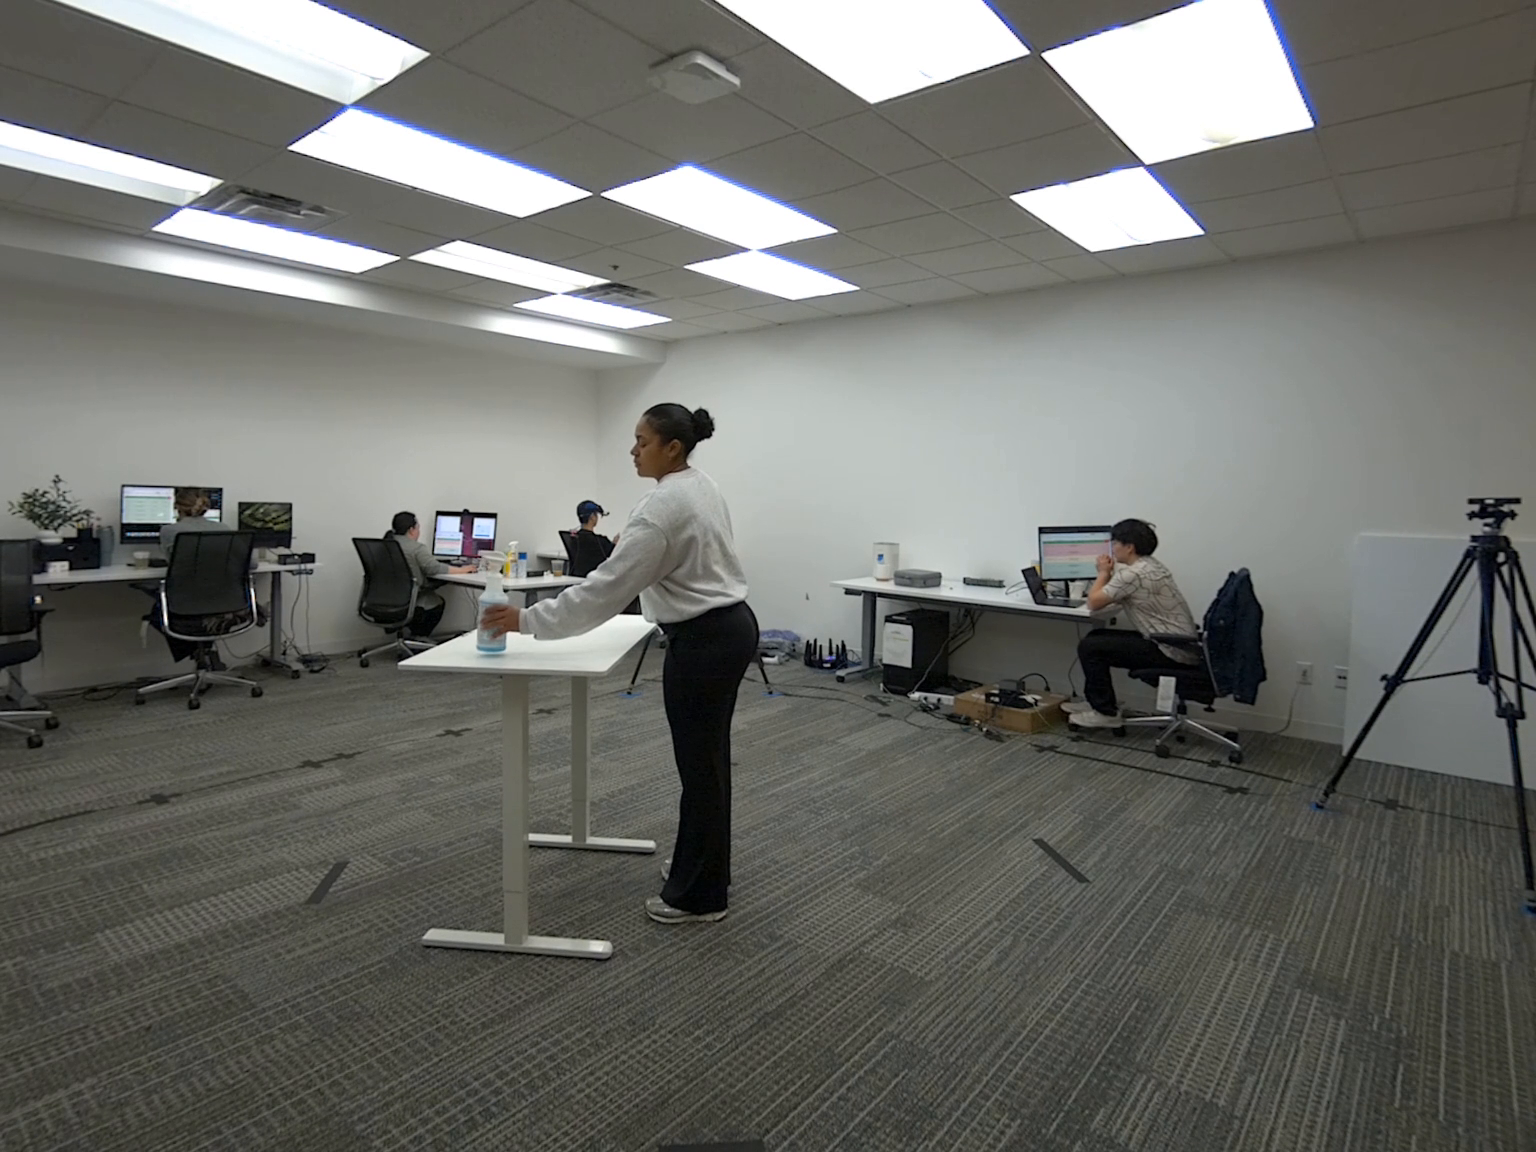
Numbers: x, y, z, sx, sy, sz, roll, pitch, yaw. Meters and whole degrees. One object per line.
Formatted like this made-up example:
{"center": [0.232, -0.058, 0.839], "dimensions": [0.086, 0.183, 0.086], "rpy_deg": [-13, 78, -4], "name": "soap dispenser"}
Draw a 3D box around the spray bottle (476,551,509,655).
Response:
{"center": [-0.825, 0.075, 2.536], "dimensions": [0.091, 0.297, 0.086], "rpy_deg": [3, 0, 9], "name": "spray bottle"}
